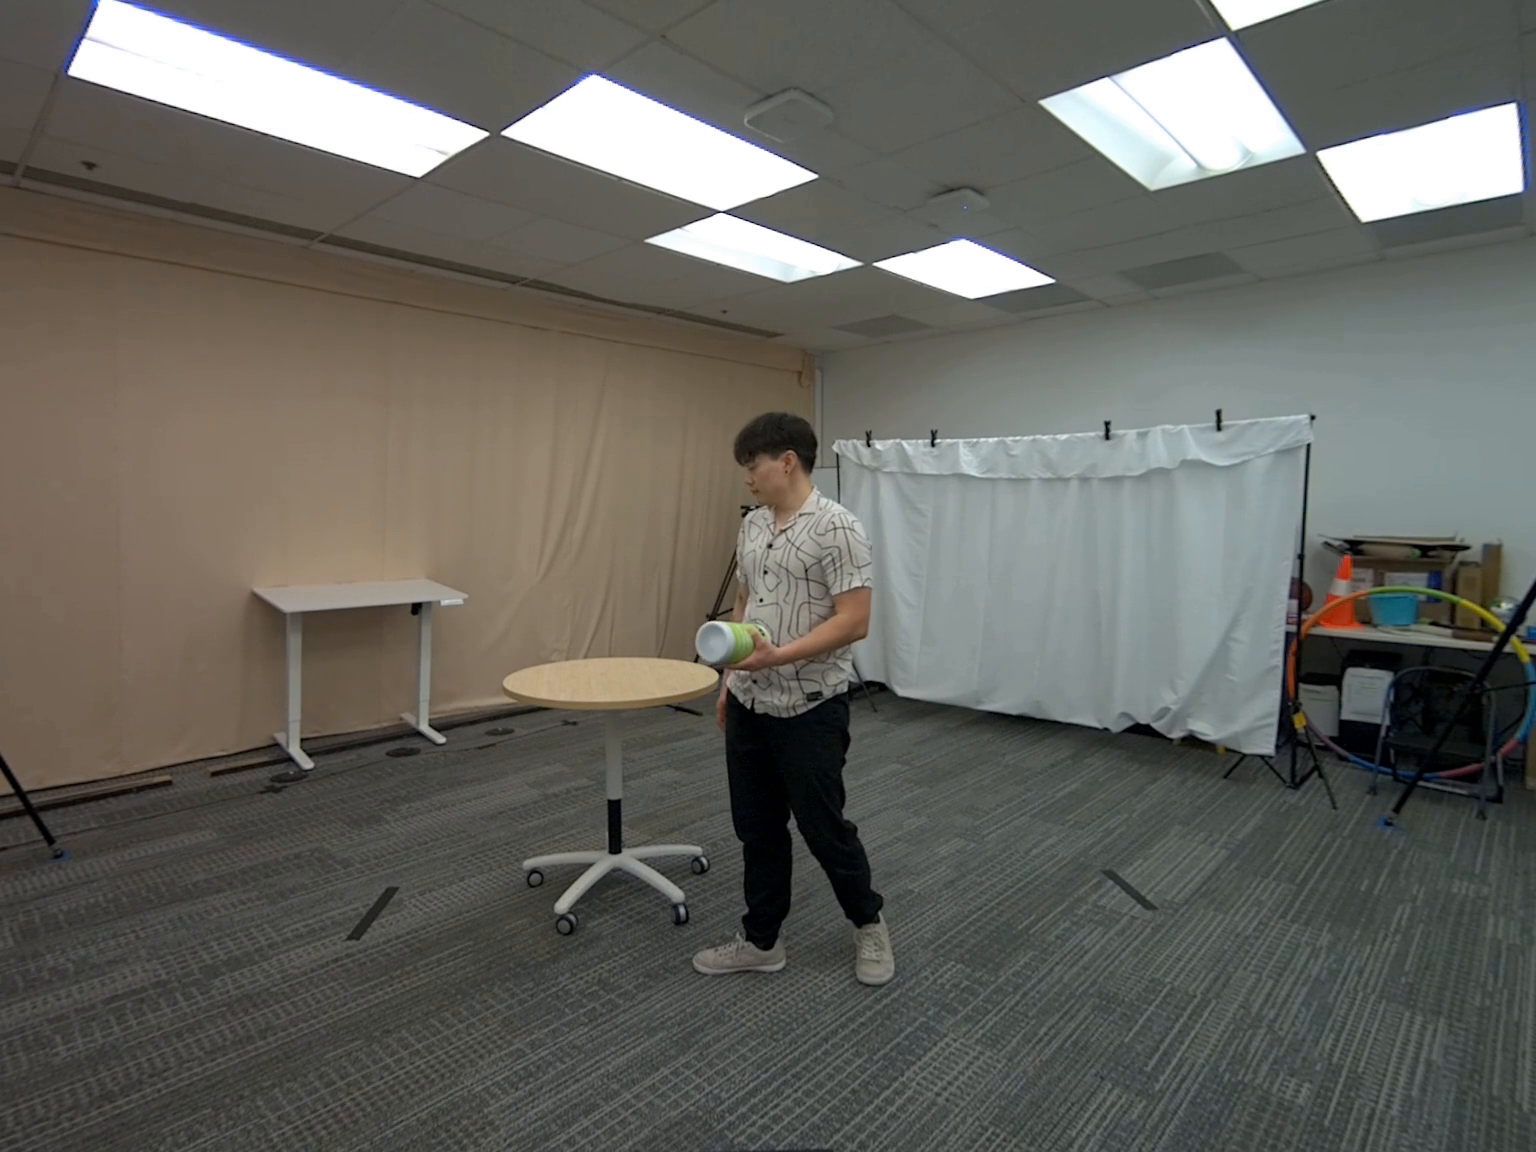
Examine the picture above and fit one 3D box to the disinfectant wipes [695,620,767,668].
[{"bbox_3d":[-0.090,0.184,2.266,0.121,0.118,0.210,3,-5,33],"label":"disinfectant wipes"}]
